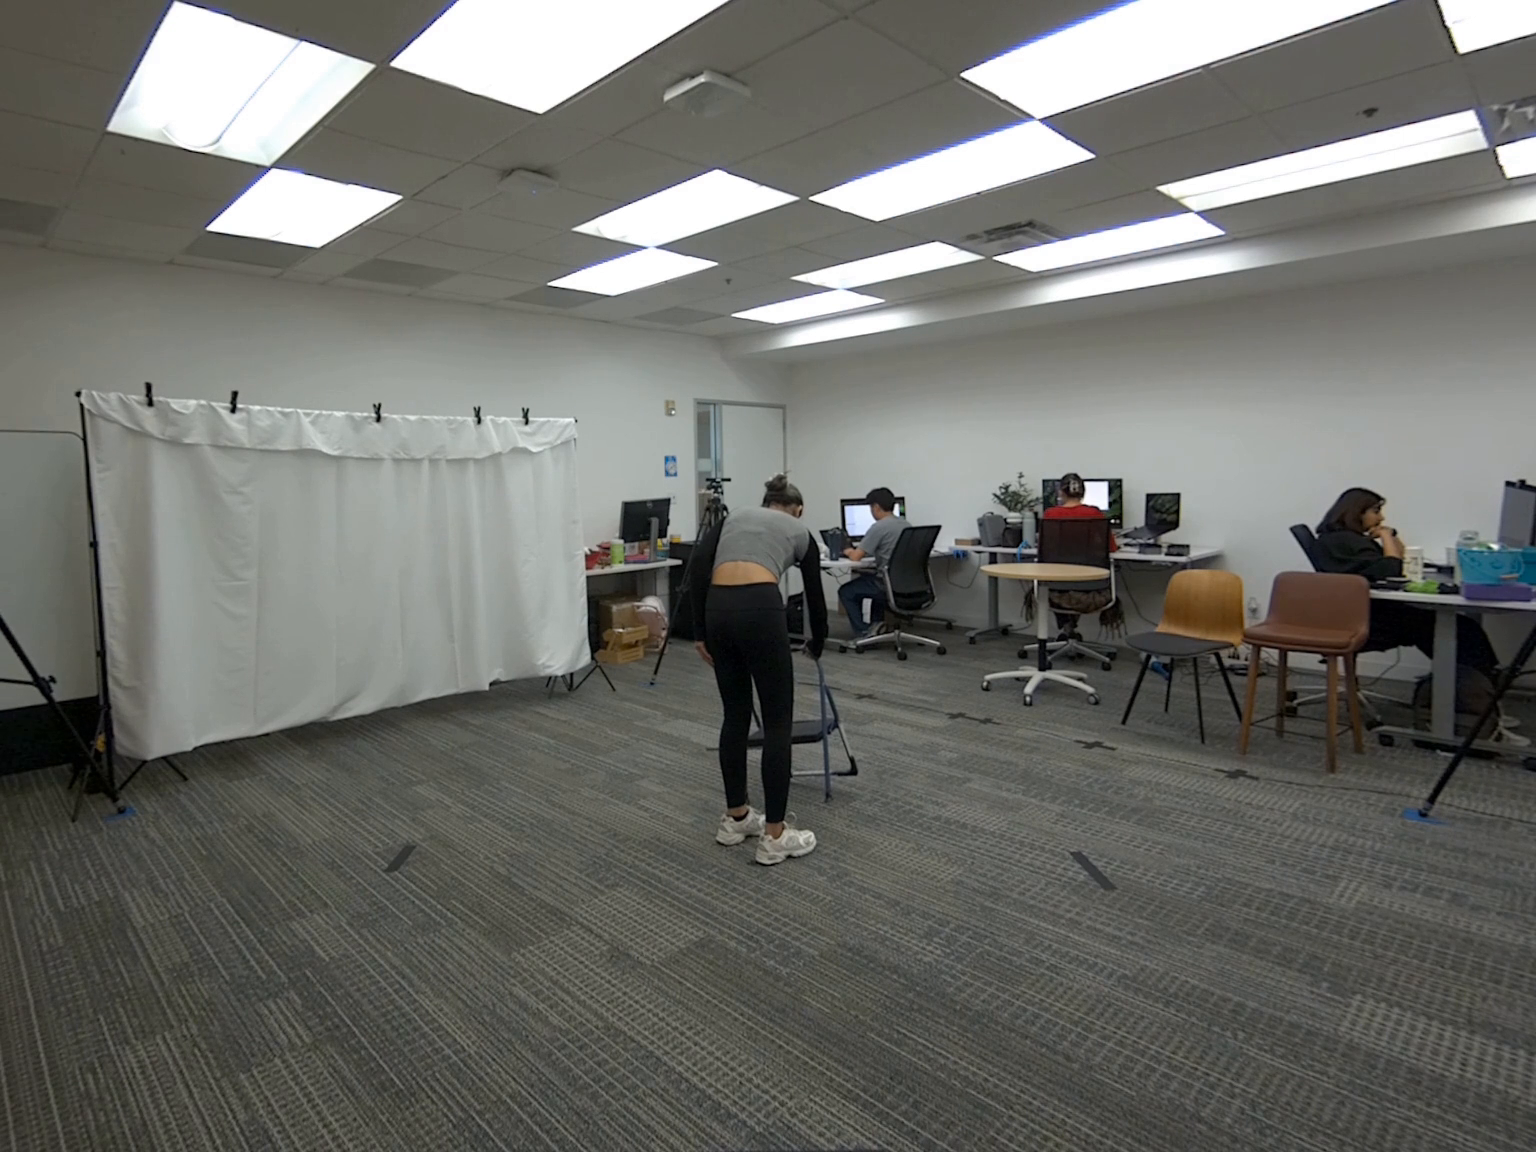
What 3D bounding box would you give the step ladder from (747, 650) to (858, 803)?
[{"bbox_3d":[0.093,0.630,3.719,0.439,0.606,0.342,-11,0,29],"label":"step ladder"}]
